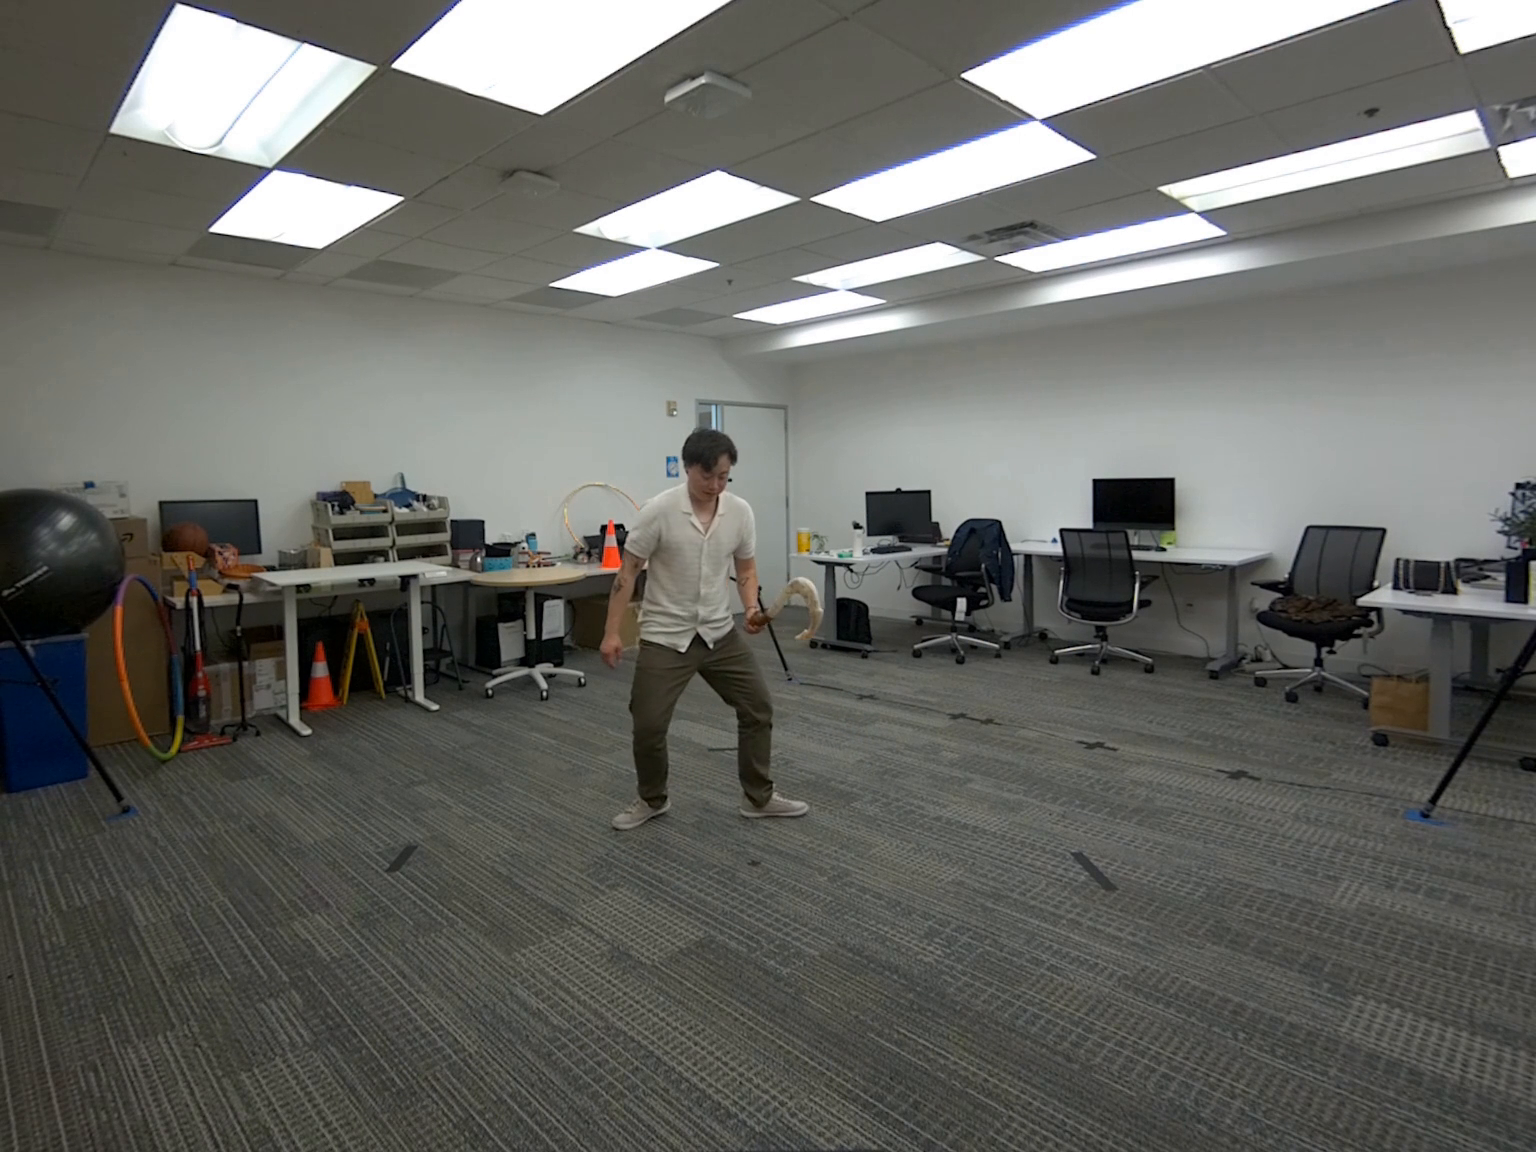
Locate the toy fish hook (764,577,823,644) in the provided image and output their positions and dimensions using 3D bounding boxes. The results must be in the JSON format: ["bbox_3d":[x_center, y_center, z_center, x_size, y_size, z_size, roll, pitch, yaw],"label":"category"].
[{"bbox_3d":[0.055,0.169,3.171,0.047,0.229,0.508,-3,-20,-30],"label":"toy fish hook"}]
